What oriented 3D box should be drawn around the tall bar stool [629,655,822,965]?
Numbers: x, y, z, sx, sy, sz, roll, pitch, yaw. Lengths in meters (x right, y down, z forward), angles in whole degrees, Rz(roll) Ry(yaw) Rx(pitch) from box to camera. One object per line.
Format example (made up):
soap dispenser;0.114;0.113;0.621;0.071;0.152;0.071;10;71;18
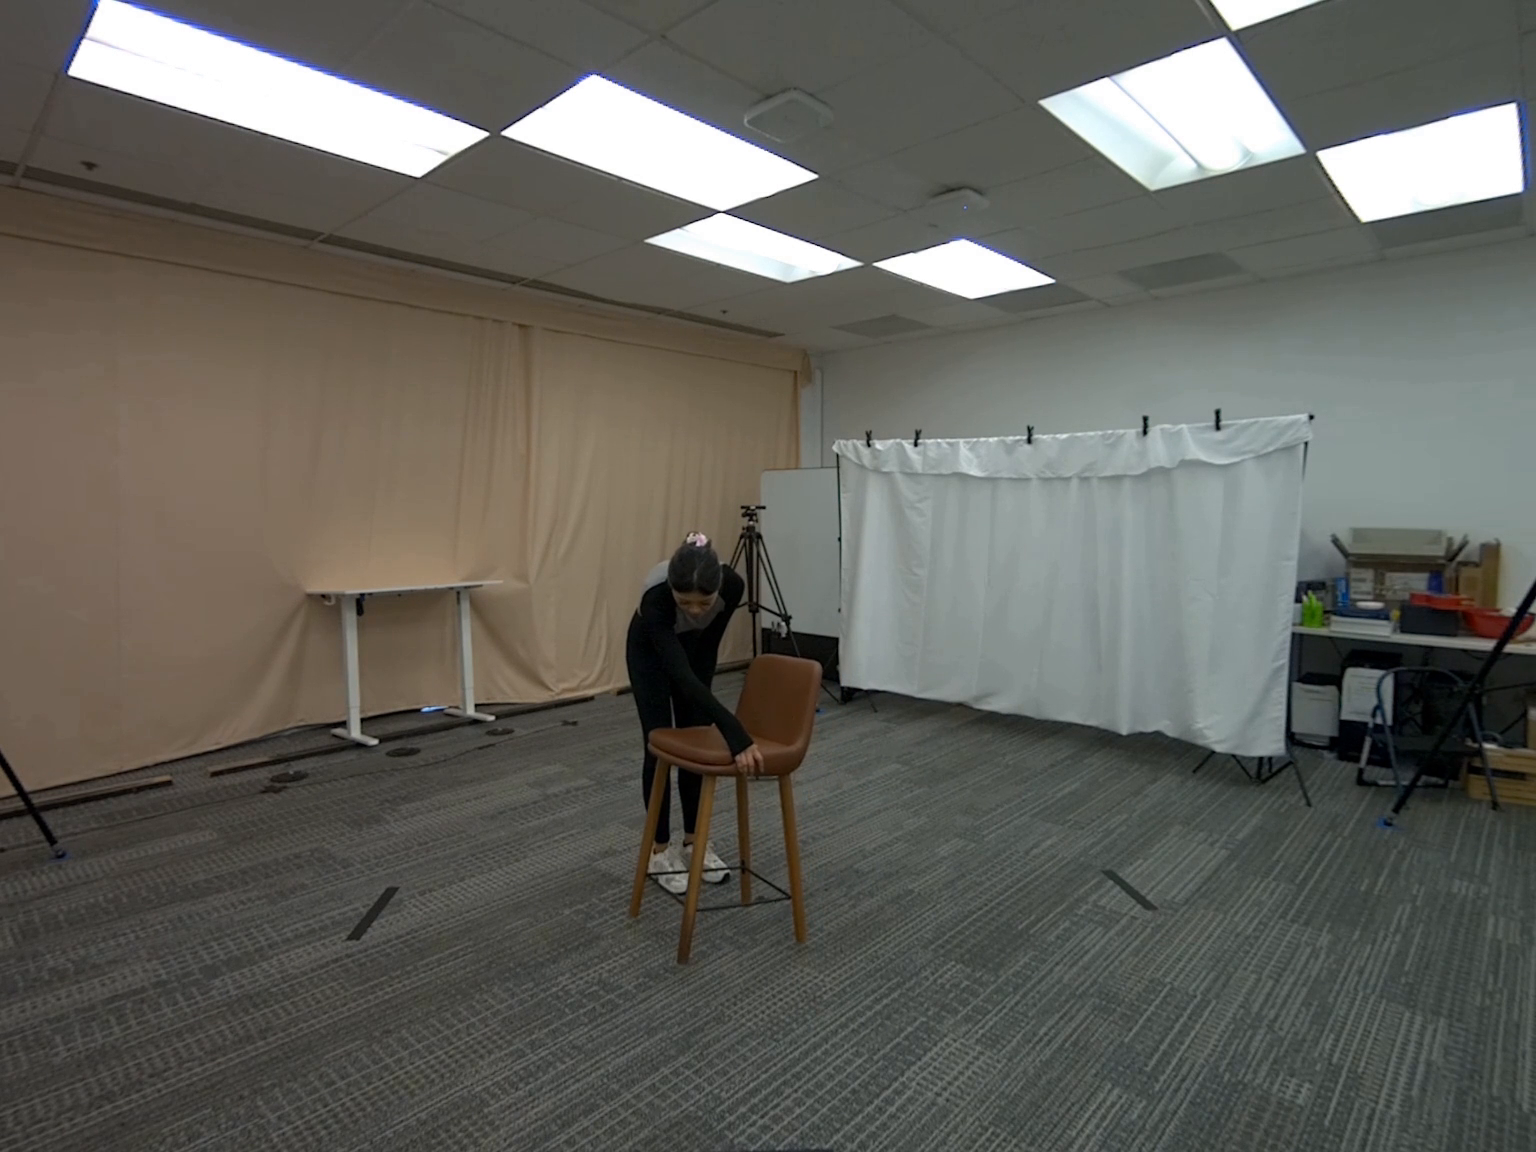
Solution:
tall bar stool;-0.128;0.704;2.716;0.454;0.892;0.469;7;-4;-30
